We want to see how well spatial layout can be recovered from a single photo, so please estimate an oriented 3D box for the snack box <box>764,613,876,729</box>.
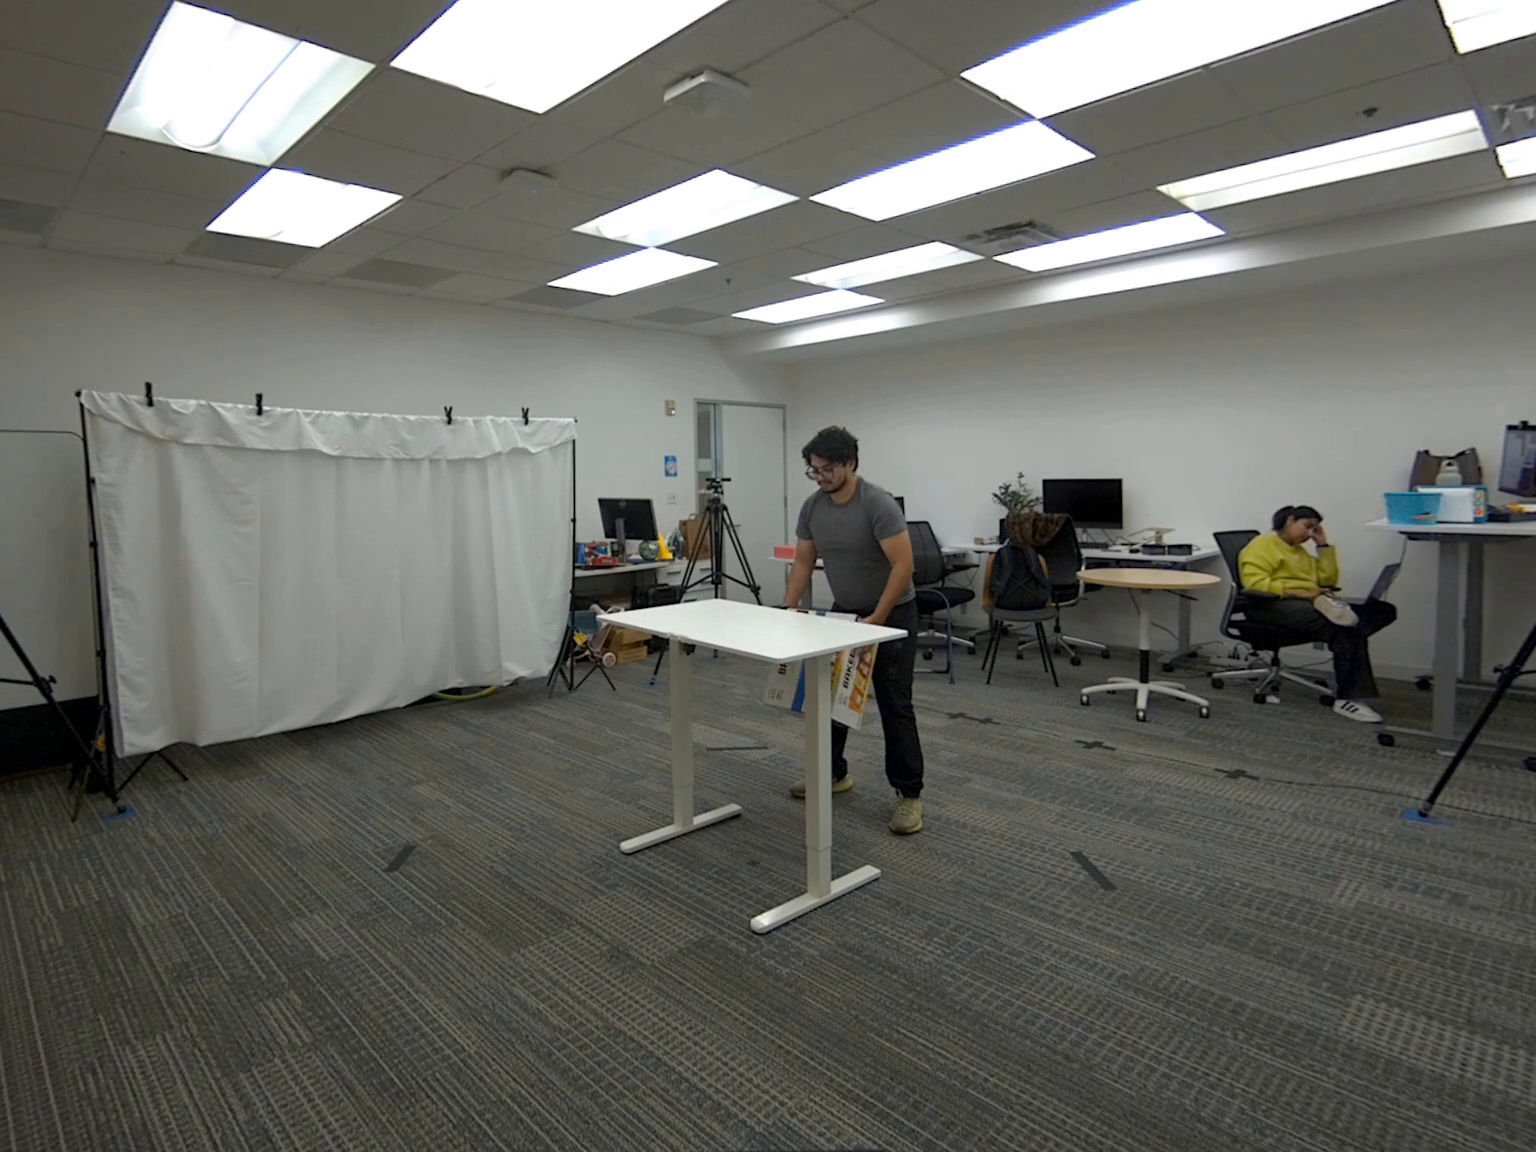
[{"bbox_3d":[0.217,0.366,3.399,0.350,0.409,0.198,1,-21,42],"label":"snack box"}]
